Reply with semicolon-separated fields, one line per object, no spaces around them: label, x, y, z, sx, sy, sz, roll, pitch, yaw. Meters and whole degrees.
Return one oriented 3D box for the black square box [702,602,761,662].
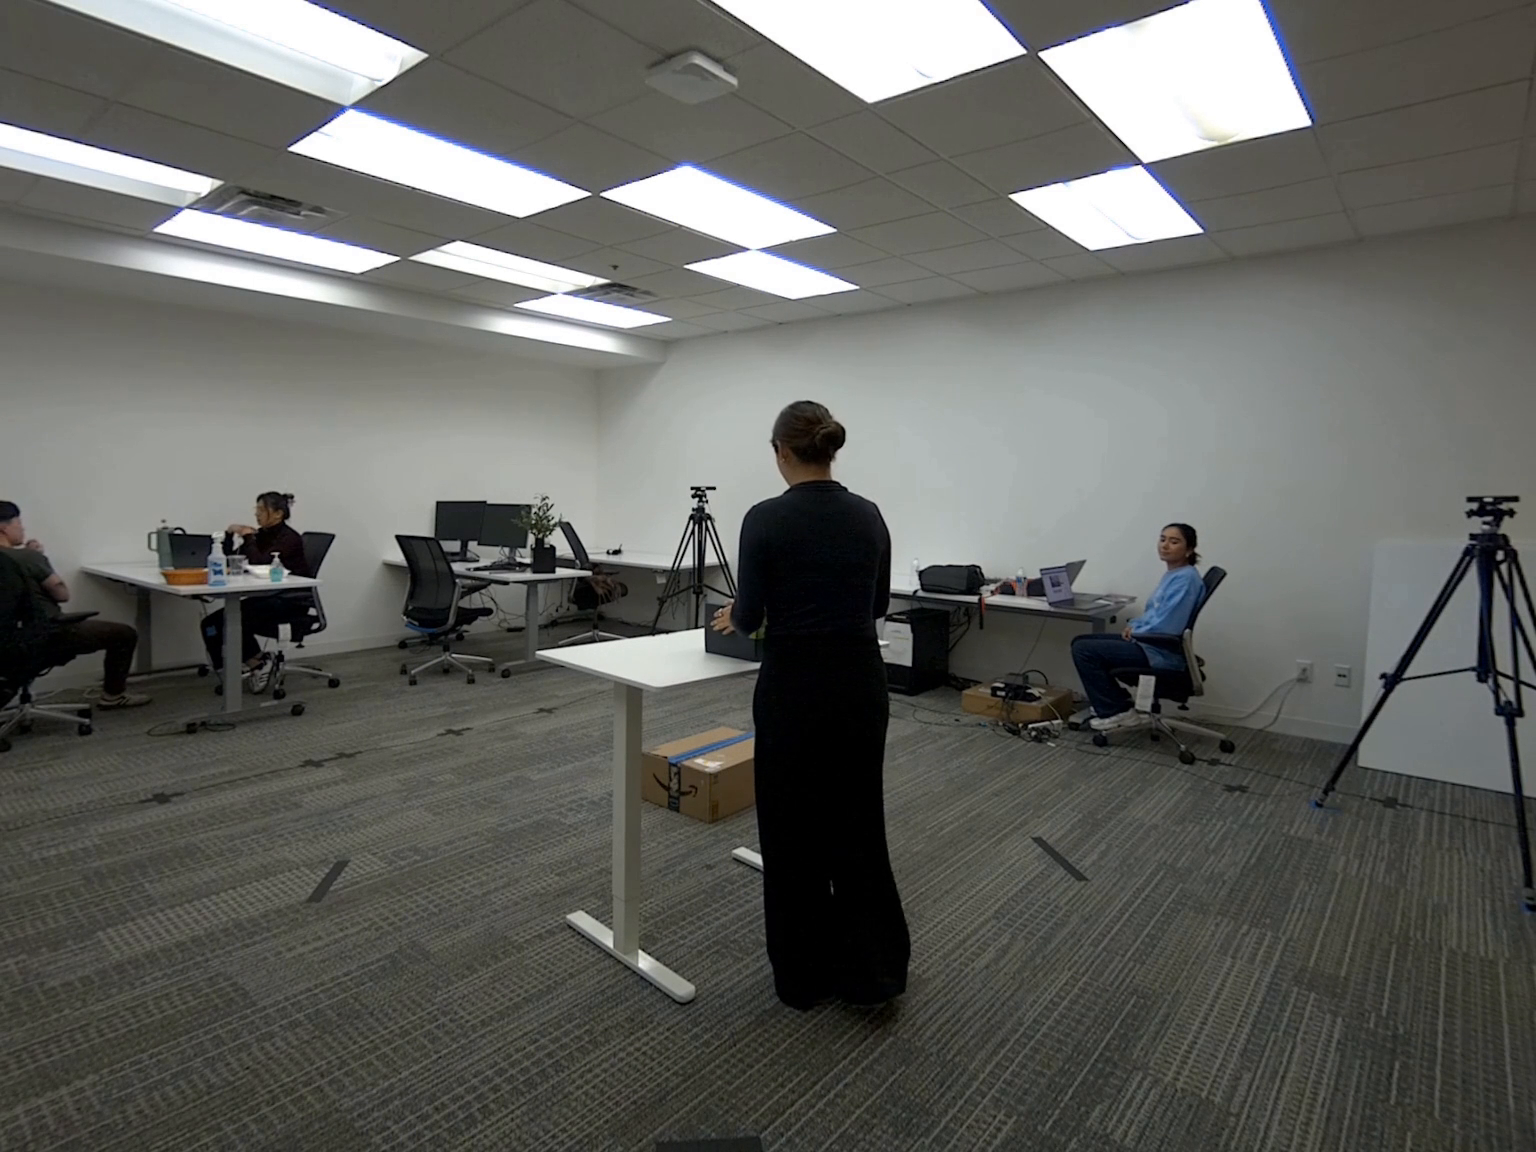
black square box;-0.049;0.156;2.622;0.224;0.155;0.221;5;7;42
